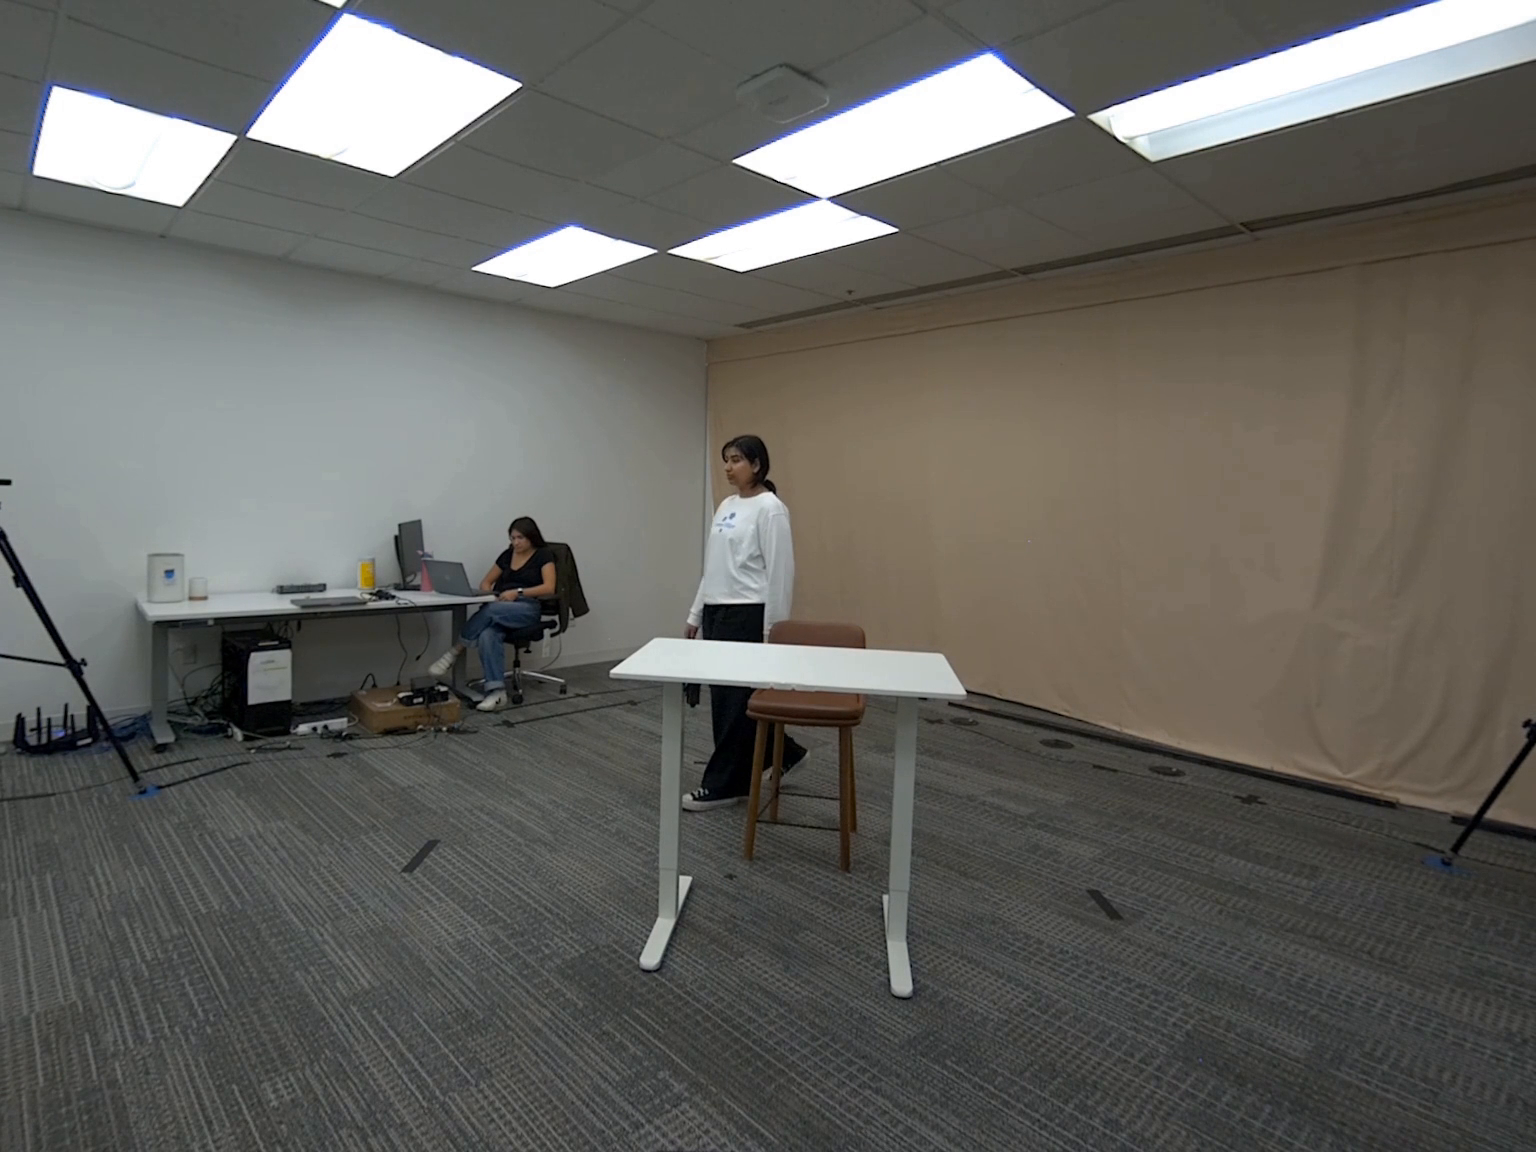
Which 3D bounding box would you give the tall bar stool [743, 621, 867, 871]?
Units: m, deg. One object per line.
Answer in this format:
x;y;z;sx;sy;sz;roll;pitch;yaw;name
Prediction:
0.156;0.656;3.403;0.462;0.889;0.462;2;1;15;tall bar stool
